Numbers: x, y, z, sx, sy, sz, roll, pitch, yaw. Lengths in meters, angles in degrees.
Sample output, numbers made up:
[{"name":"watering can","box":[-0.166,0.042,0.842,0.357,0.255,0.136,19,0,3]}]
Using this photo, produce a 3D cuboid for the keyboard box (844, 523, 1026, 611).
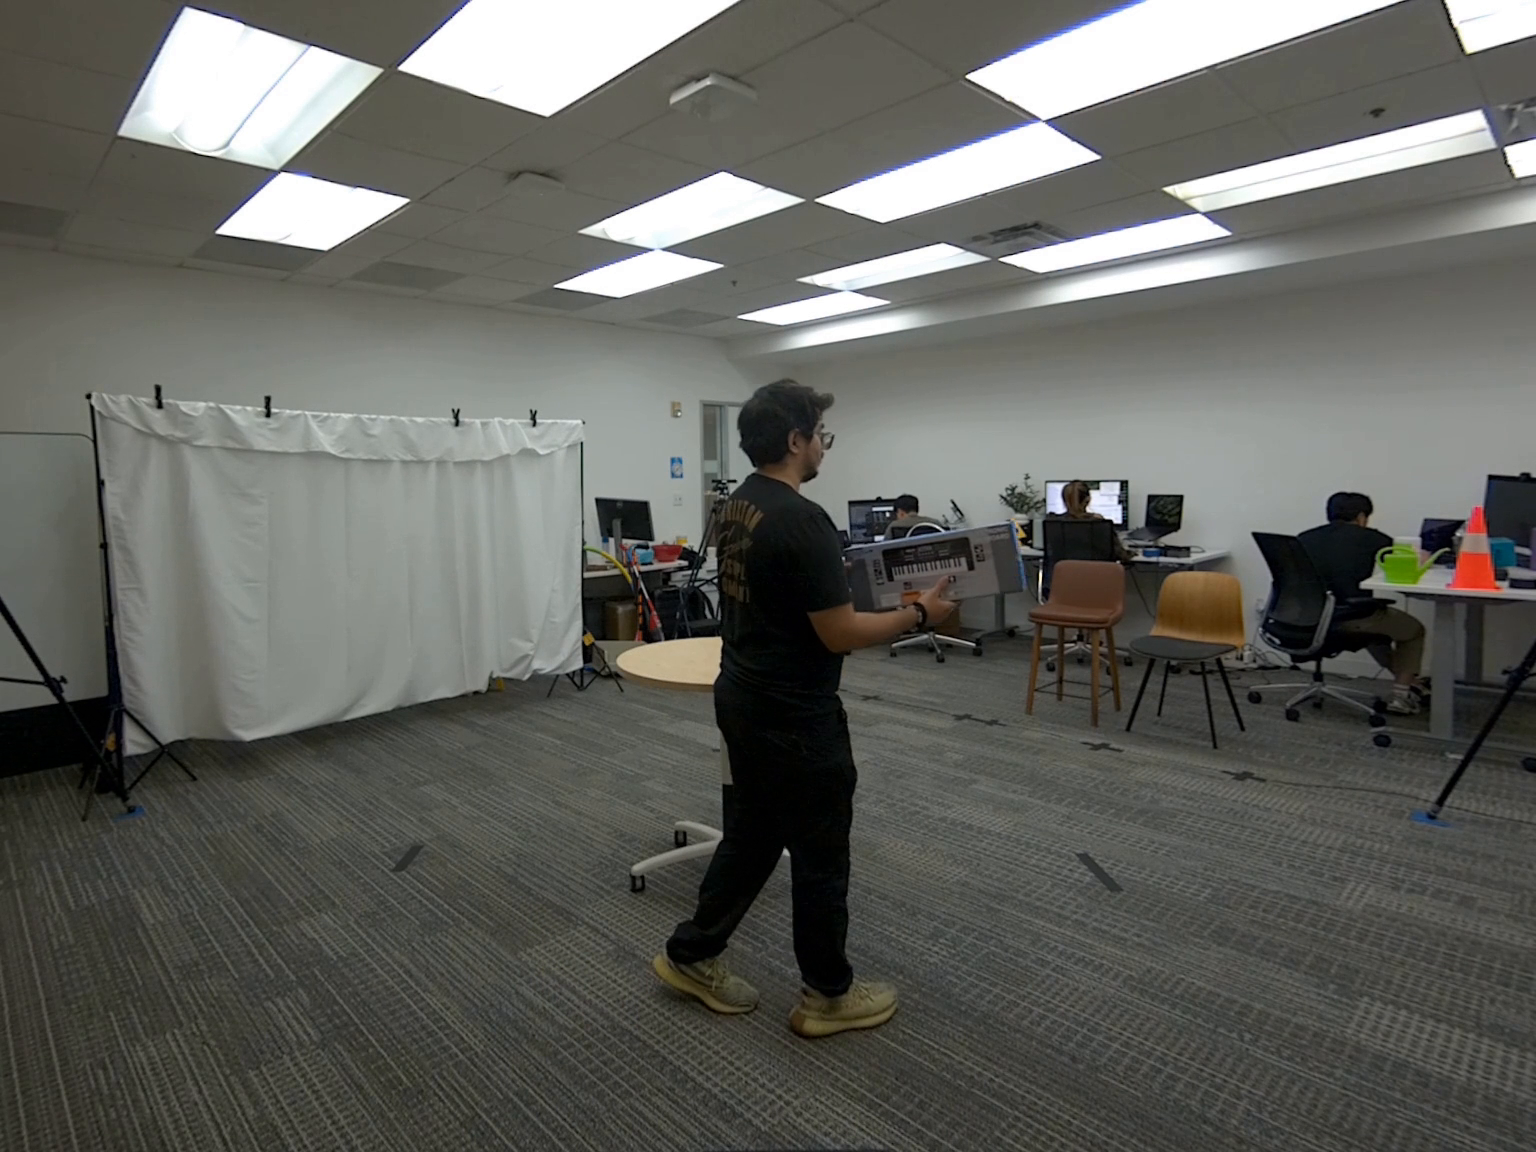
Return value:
[{"name":"keyboard box","box":[0.420,-0.017,2.193,0.446,0.175,0.058,-9,3,28]}]
